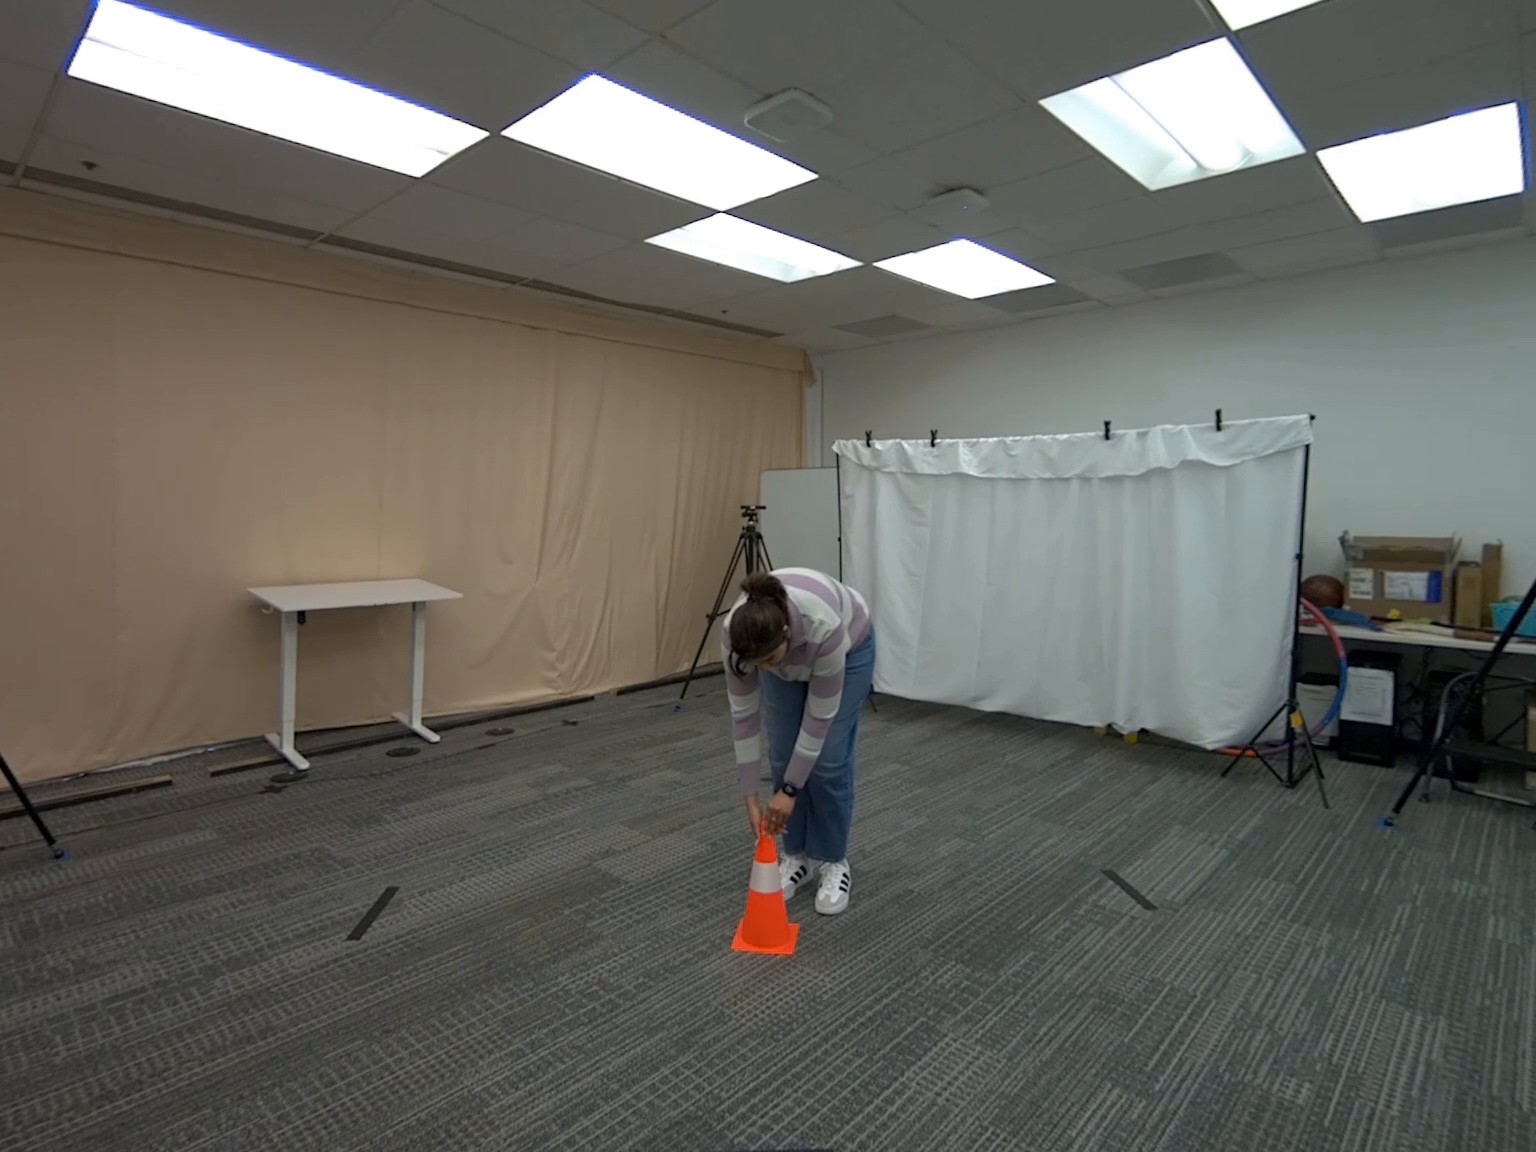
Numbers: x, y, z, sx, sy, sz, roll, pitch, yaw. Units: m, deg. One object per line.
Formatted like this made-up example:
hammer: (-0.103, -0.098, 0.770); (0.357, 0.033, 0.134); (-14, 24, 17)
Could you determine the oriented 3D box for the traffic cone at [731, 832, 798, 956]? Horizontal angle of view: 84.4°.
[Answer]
traffic cone: (-0.001, 0.984, 2.708); (0.207, 0.383, 0.201); (2, 4, 9)
